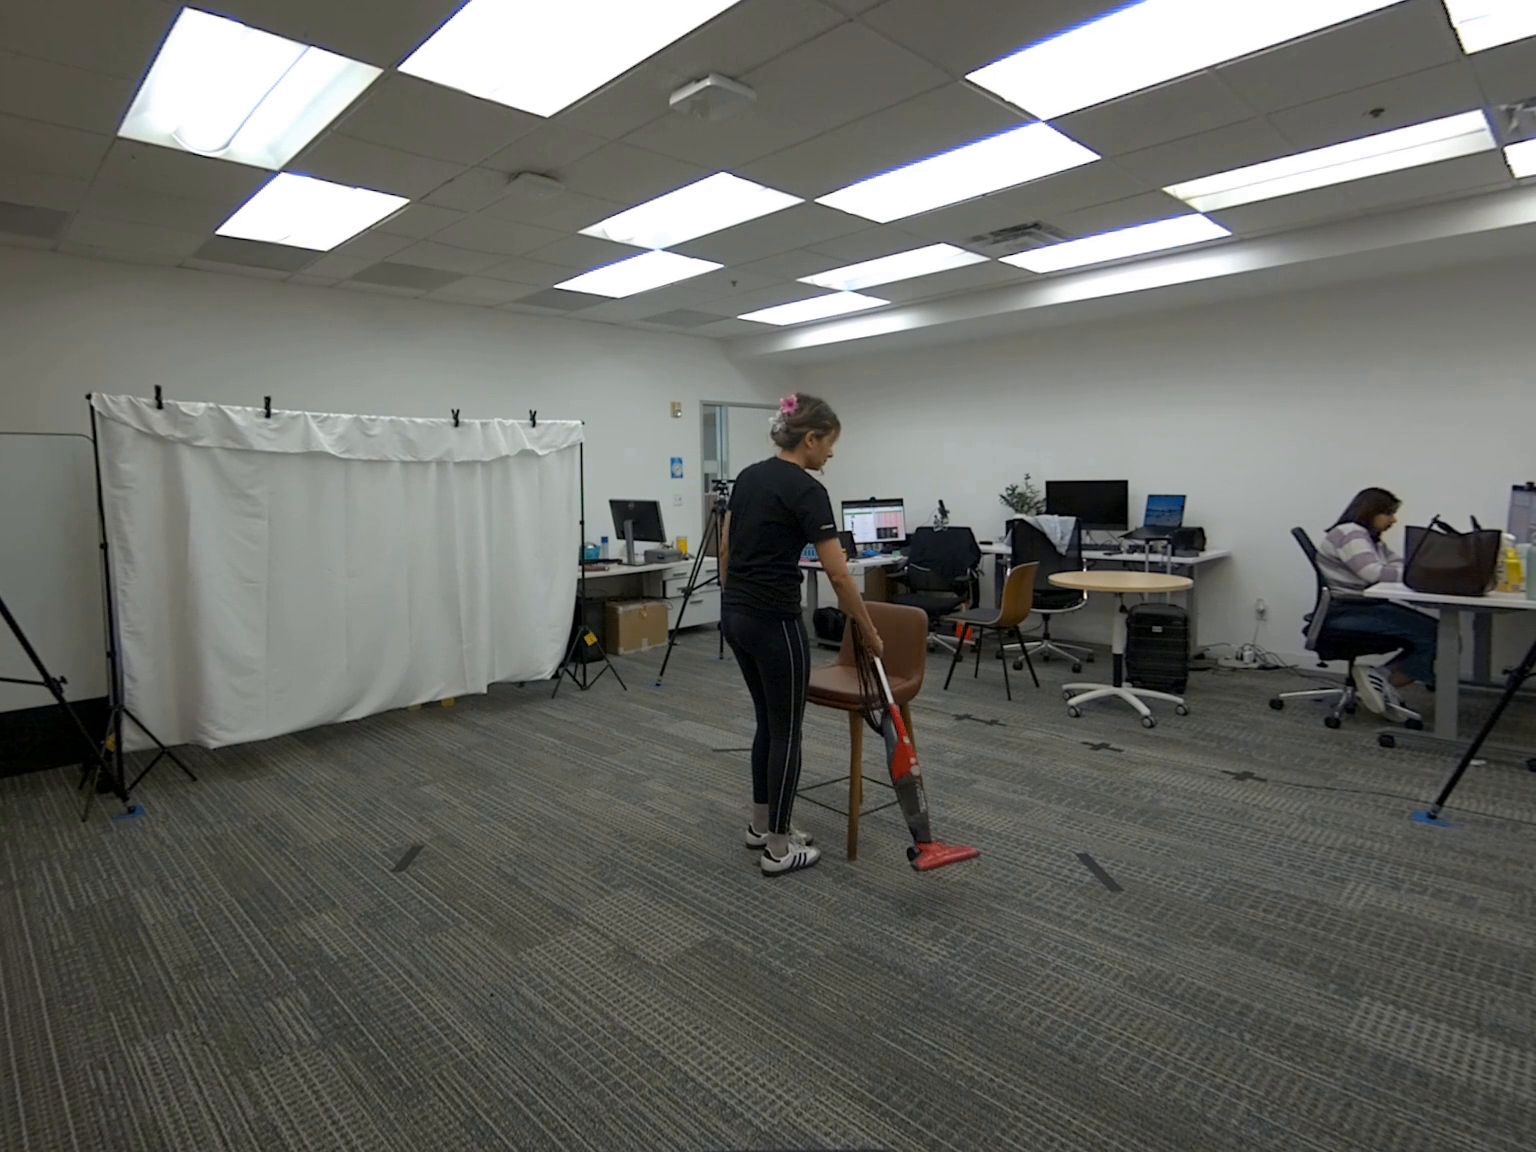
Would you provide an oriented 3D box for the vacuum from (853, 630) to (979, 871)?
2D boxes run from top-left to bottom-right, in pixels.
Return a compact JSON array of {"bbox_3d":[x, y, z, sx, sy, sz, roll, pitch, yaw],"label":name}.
[{"bbox_3d":[0.427,0.466,3.000,0.247,1.074,0.143,-3,-25,-25],"label":"vacuum"}]
